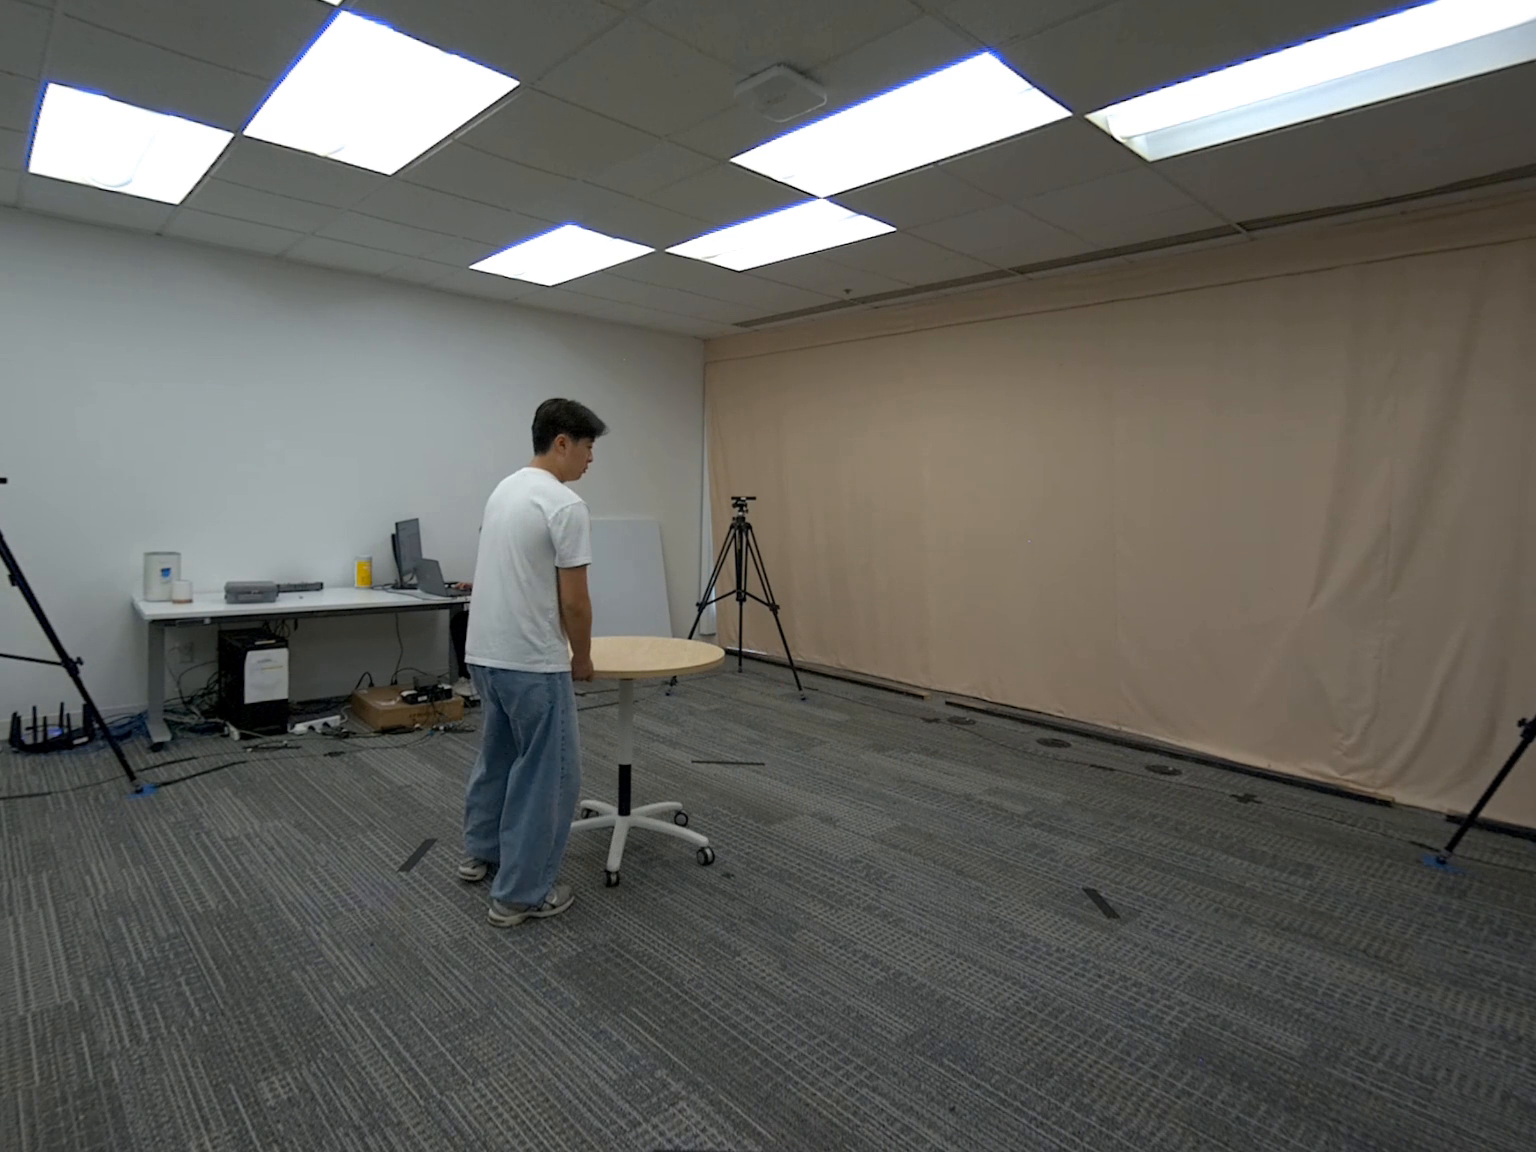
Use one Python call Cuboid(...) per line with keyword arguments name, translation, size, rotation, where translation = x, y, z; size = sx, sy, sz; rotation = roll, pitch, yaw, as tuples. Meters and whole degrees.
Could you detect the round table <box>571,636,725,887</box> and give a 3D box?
Cuboid(name="round table", translation=(-0.559, 0.689, 3.300), size=(0.763, 0.792, 0.766), rotation=(1, 4, -1))
